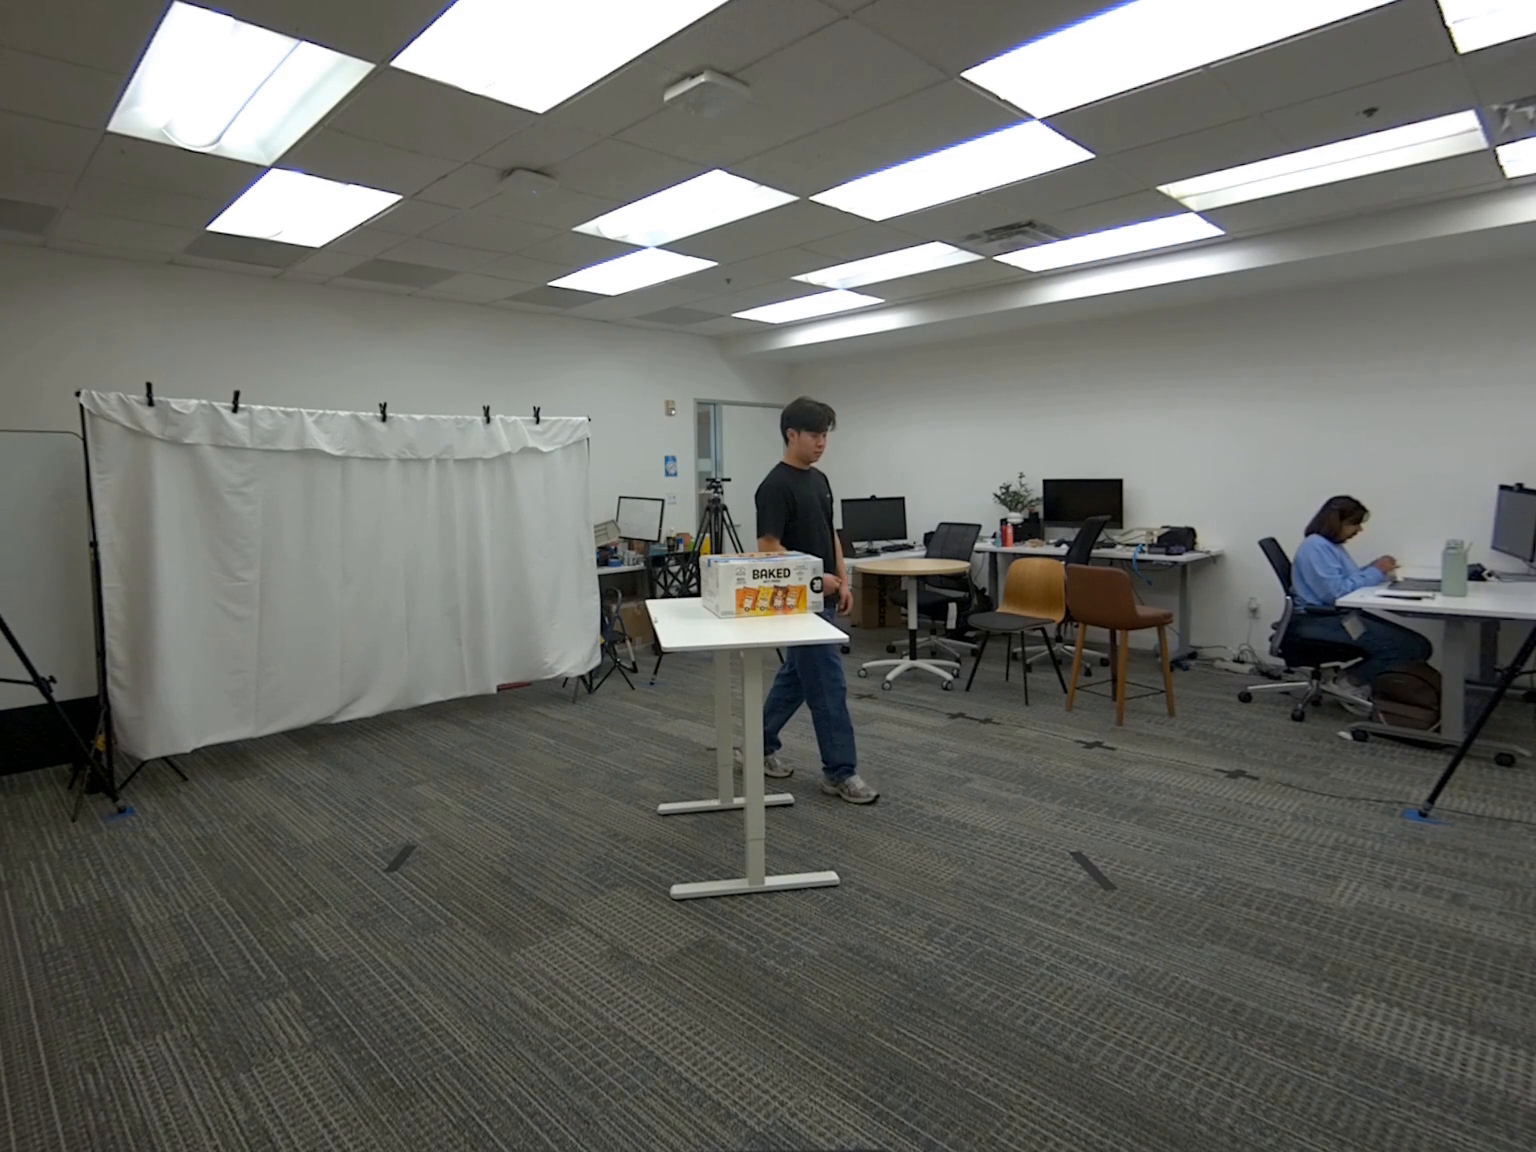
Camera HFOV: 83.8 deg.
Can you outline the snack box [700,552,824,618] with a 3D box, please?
[{"bbox_3d":[-0.031,0.027,3.337,0.400,0.205,0.346,-3,6,-14],"label":"snack box"}]
